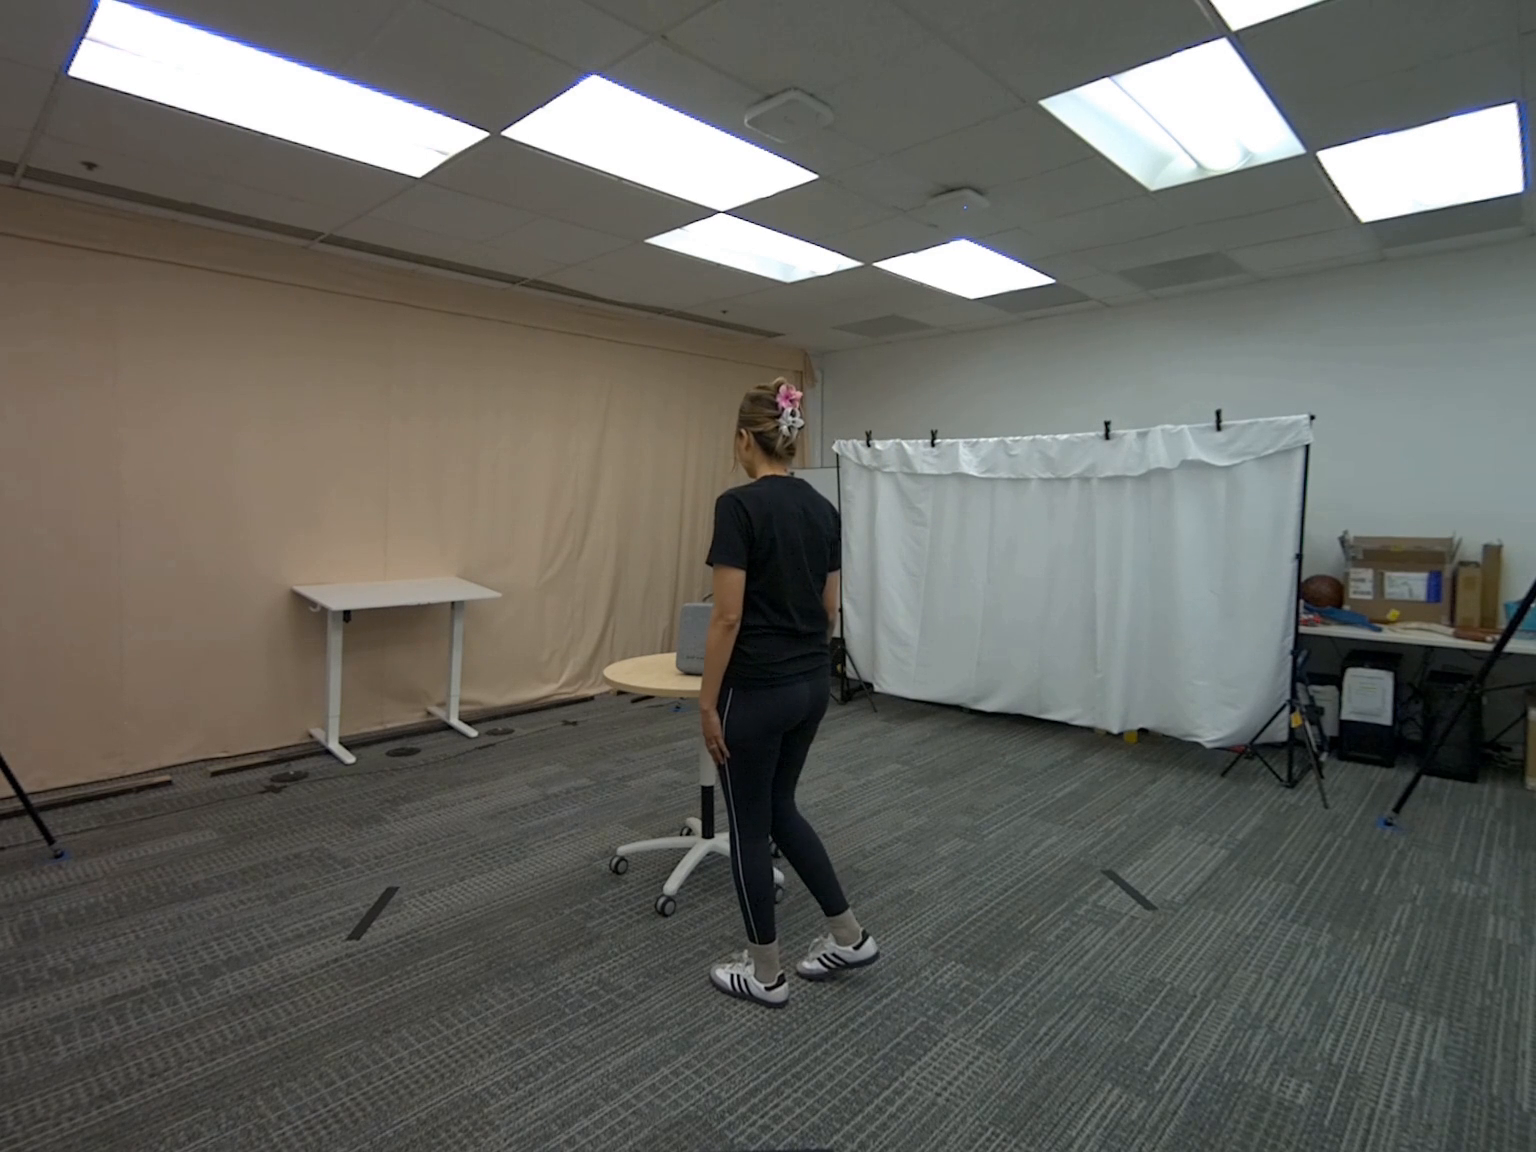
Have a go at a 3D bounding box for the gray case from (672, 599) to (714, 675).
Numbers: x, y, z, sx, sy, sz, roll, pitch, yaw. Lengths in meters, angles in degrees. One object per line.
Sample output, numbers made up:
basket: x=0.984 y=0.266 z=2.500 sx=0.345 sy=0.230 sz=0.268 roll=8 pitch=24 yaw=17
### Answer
gray case: x=-0.194 y=0.223 z=3.037 sx=0.263 sy=0.262 sz=0.101 roll=2 pitch=-8 yaw=23
